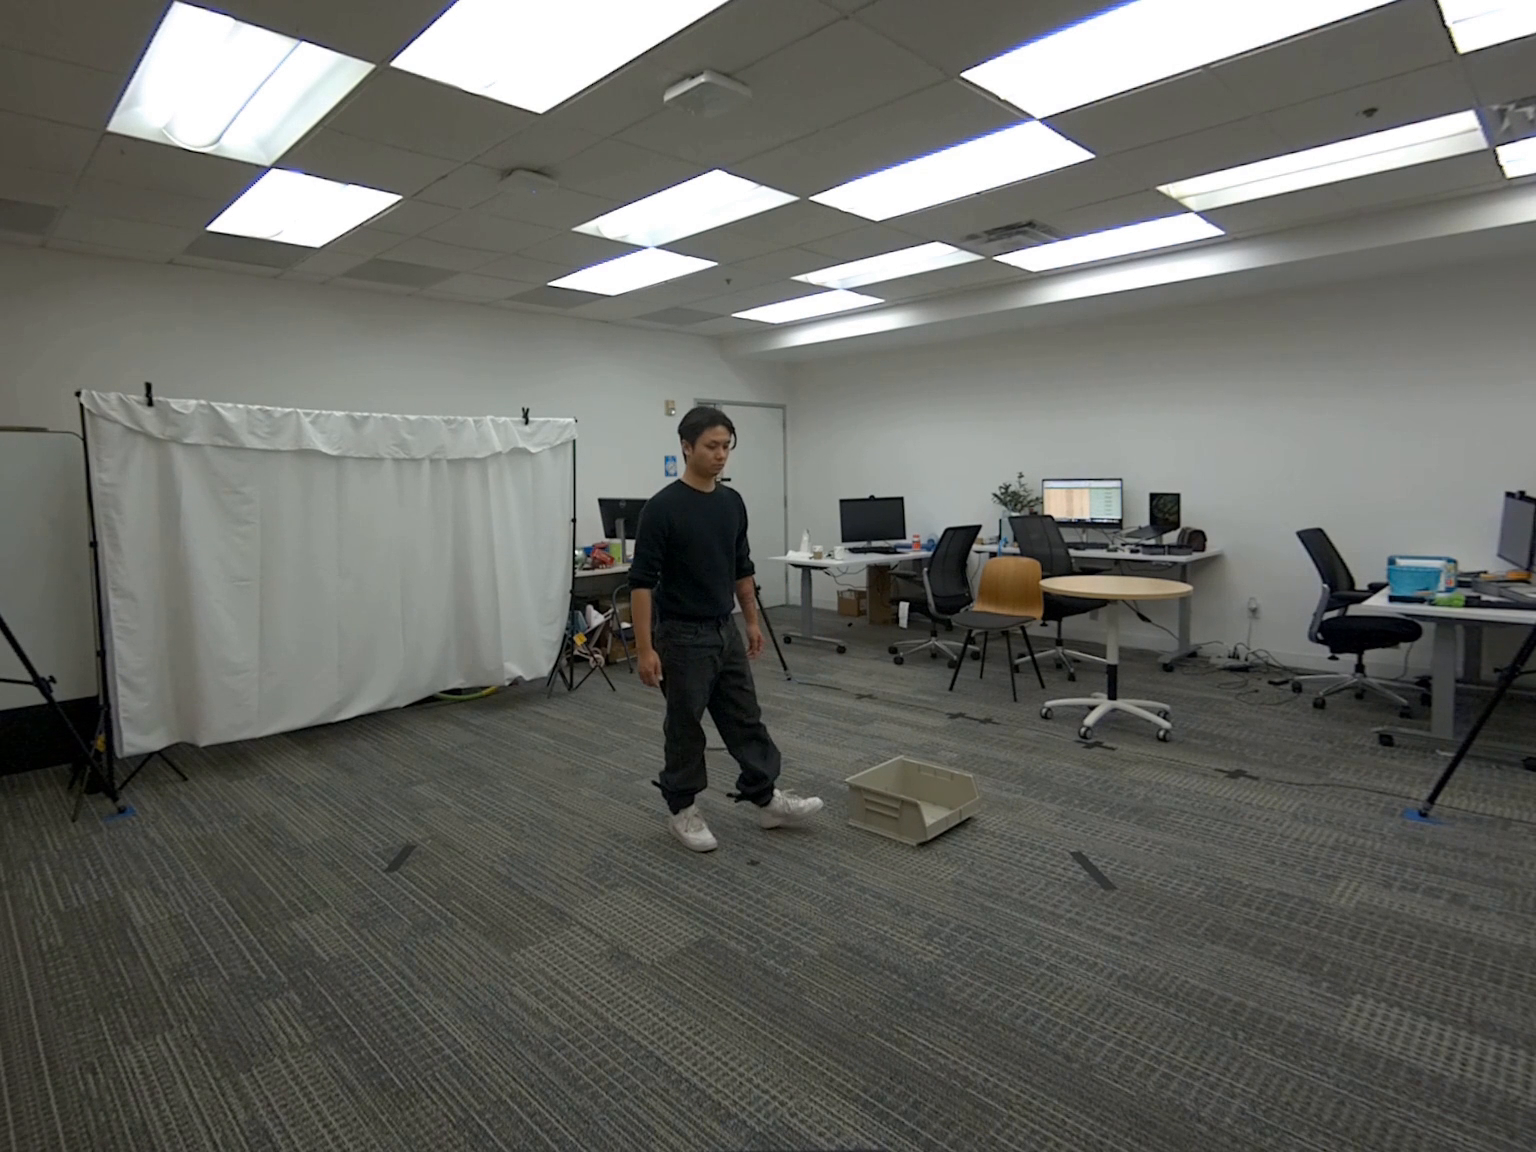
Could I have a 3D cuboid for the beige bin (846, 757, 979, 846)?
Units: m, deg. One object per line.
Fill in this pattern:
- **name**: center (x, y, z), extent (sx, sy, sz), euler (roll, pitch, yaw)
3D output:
- **beige bin**: center (0.588, 0.903, 3.455), extent (0.389, 0.188, 0.411), euler (4, 8, 43)
